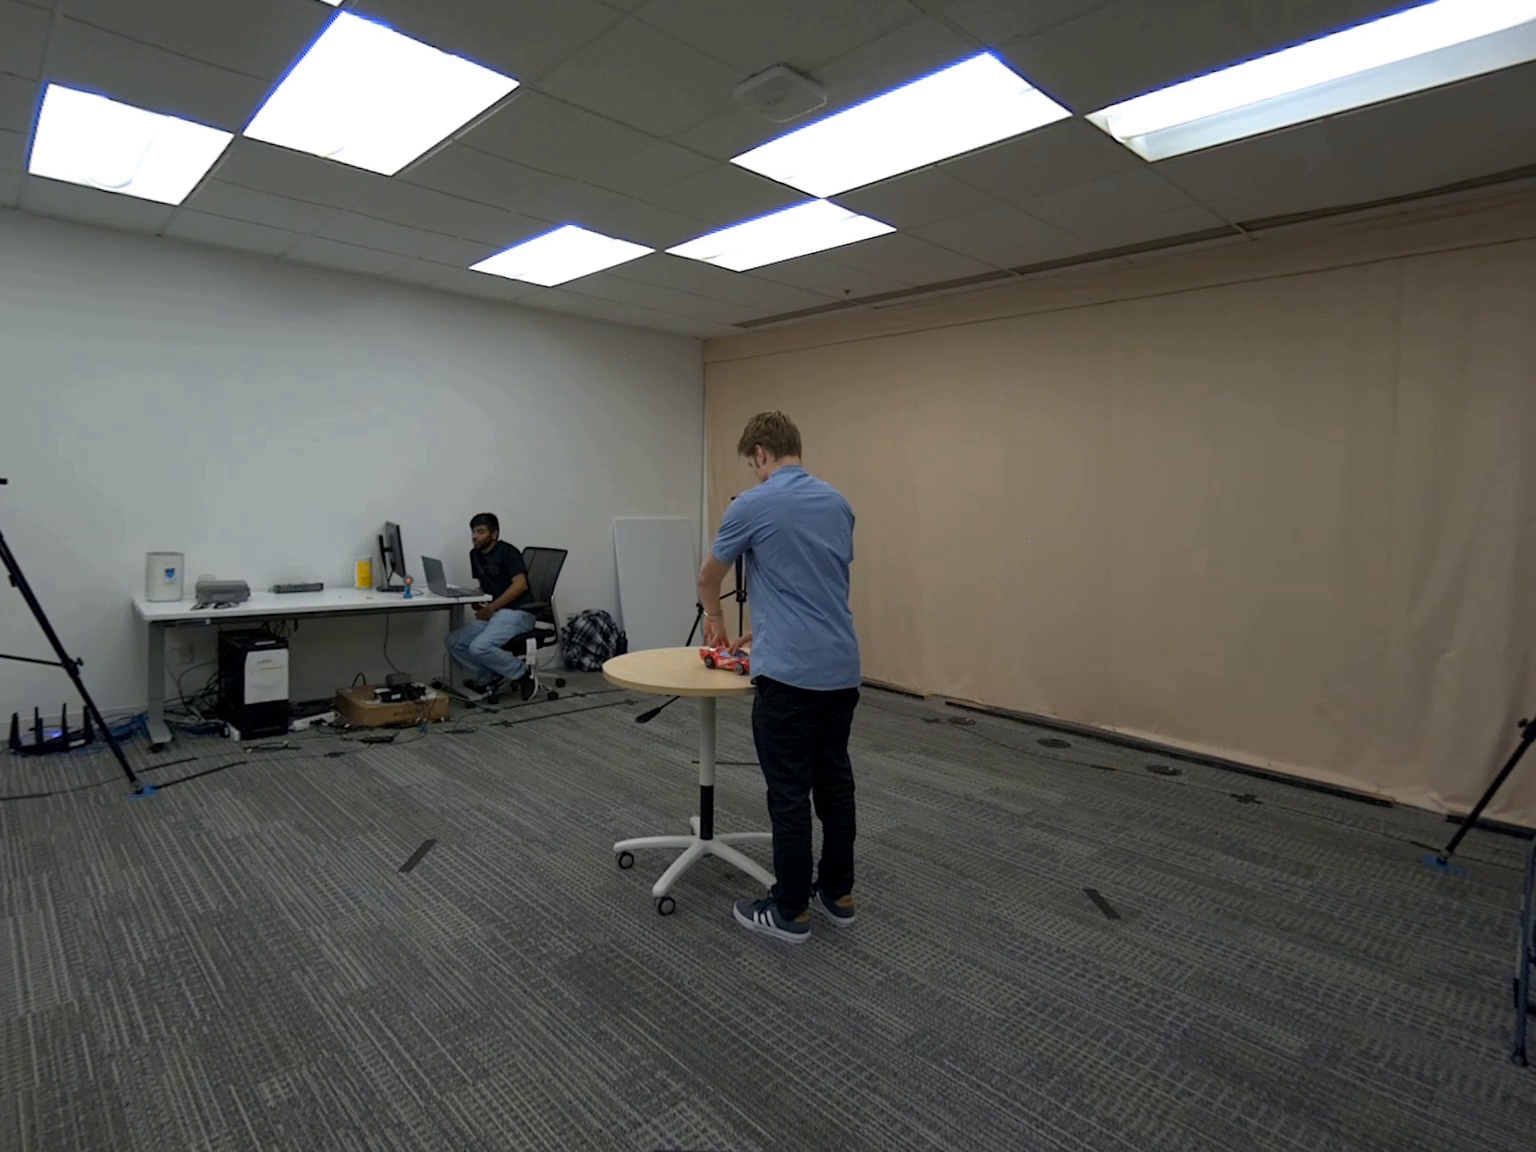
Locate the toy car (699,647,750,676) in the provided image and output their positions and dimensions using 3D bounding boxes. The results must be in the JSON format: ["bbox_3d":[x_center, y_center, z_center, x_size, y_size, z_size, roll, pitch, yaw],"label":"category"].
[{"bbox_3d":[-0.149,0.304,3.005,0.262,0.082,0.127,20,16,41],"label":"toy car"}]
